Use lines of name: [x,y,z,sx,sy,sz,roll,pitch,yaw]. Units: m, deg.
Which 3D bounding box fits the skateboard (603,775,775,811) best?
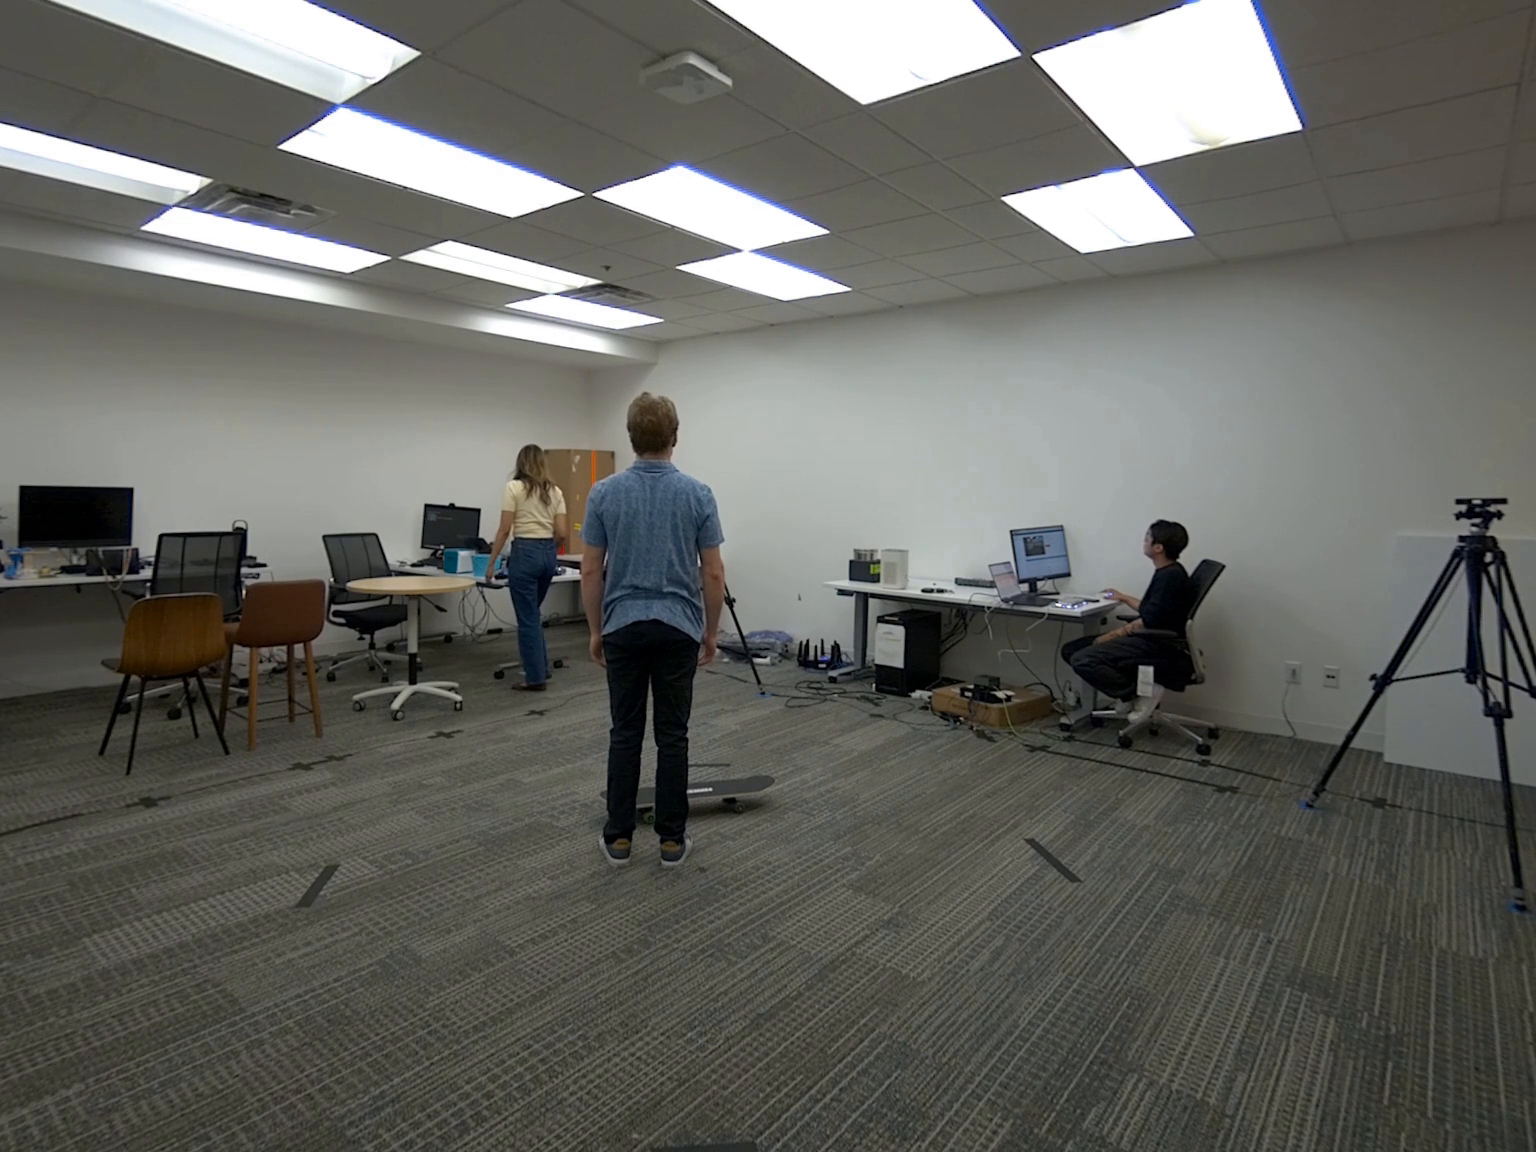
skateboard: [-0.348,0.962,3.675,0.771,0.110,0.198,-2,6,-18]
